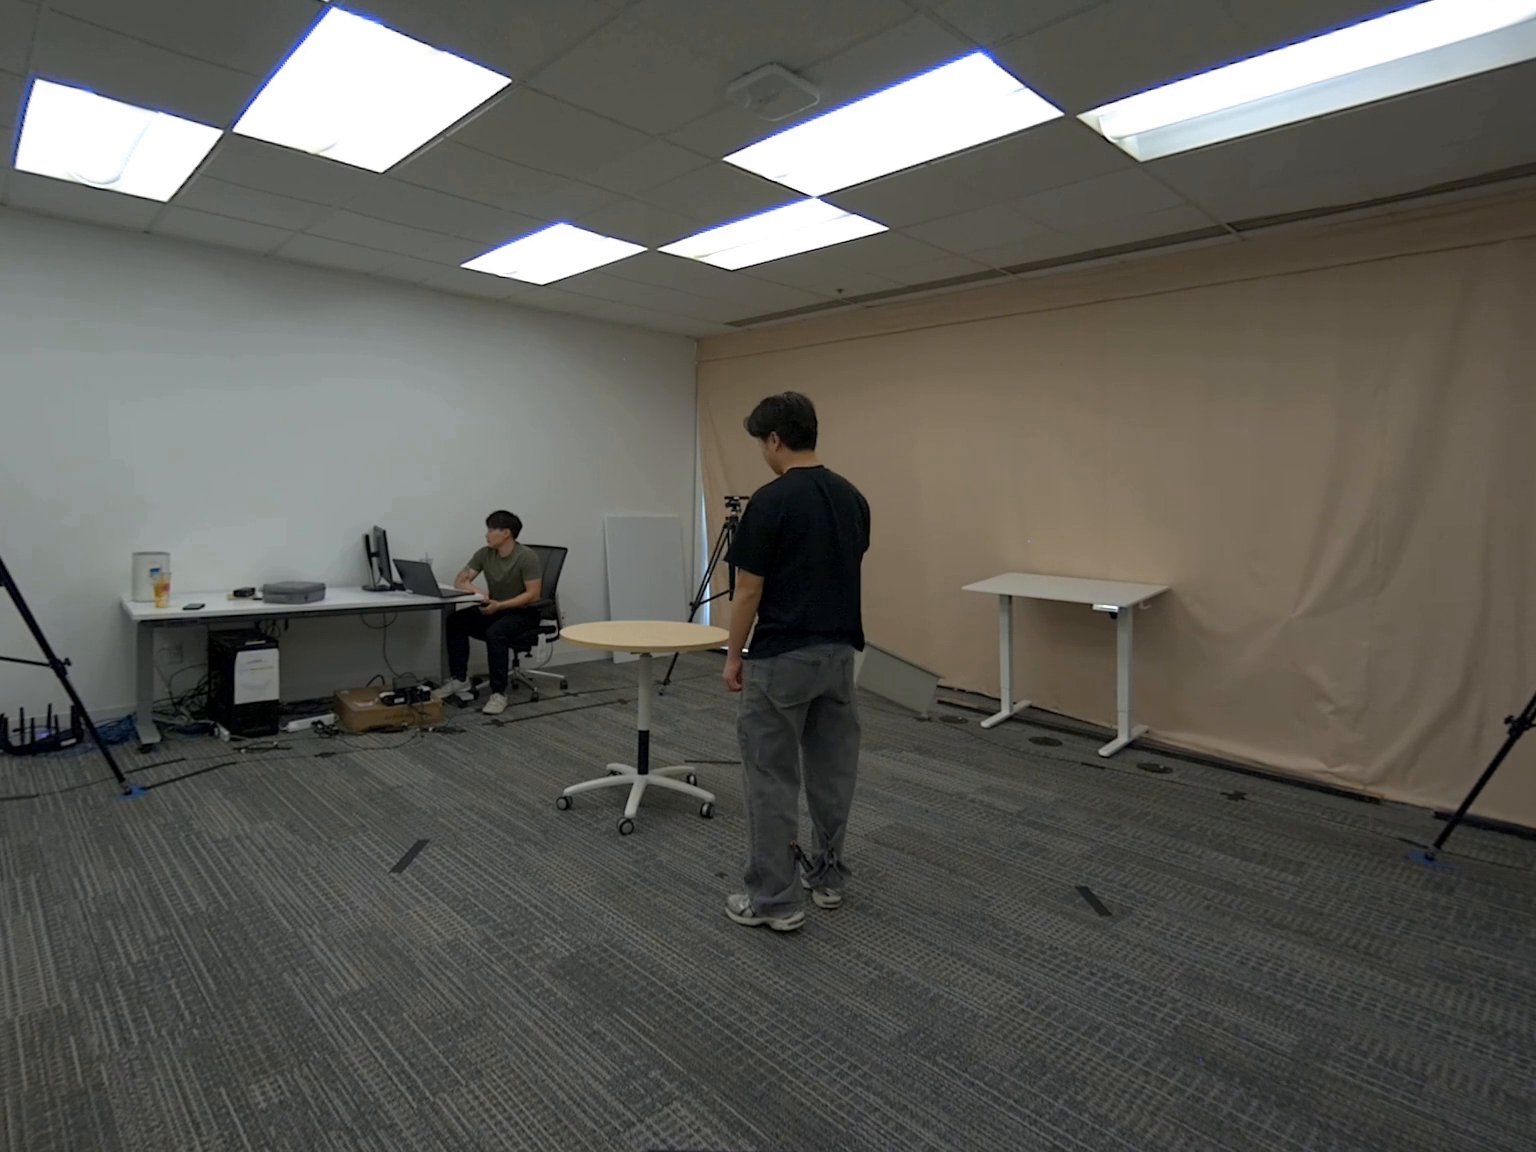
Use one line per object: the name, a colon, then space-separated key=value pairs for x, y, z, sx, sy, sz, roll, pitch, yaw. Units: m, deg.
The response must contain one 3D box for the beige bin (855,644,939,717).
beige bin: x=0.395 y=0.378 z=3.326 sx=0.412 sy=0.189 sz=0.386 roll=26 pitch=-7 yaw=-28
